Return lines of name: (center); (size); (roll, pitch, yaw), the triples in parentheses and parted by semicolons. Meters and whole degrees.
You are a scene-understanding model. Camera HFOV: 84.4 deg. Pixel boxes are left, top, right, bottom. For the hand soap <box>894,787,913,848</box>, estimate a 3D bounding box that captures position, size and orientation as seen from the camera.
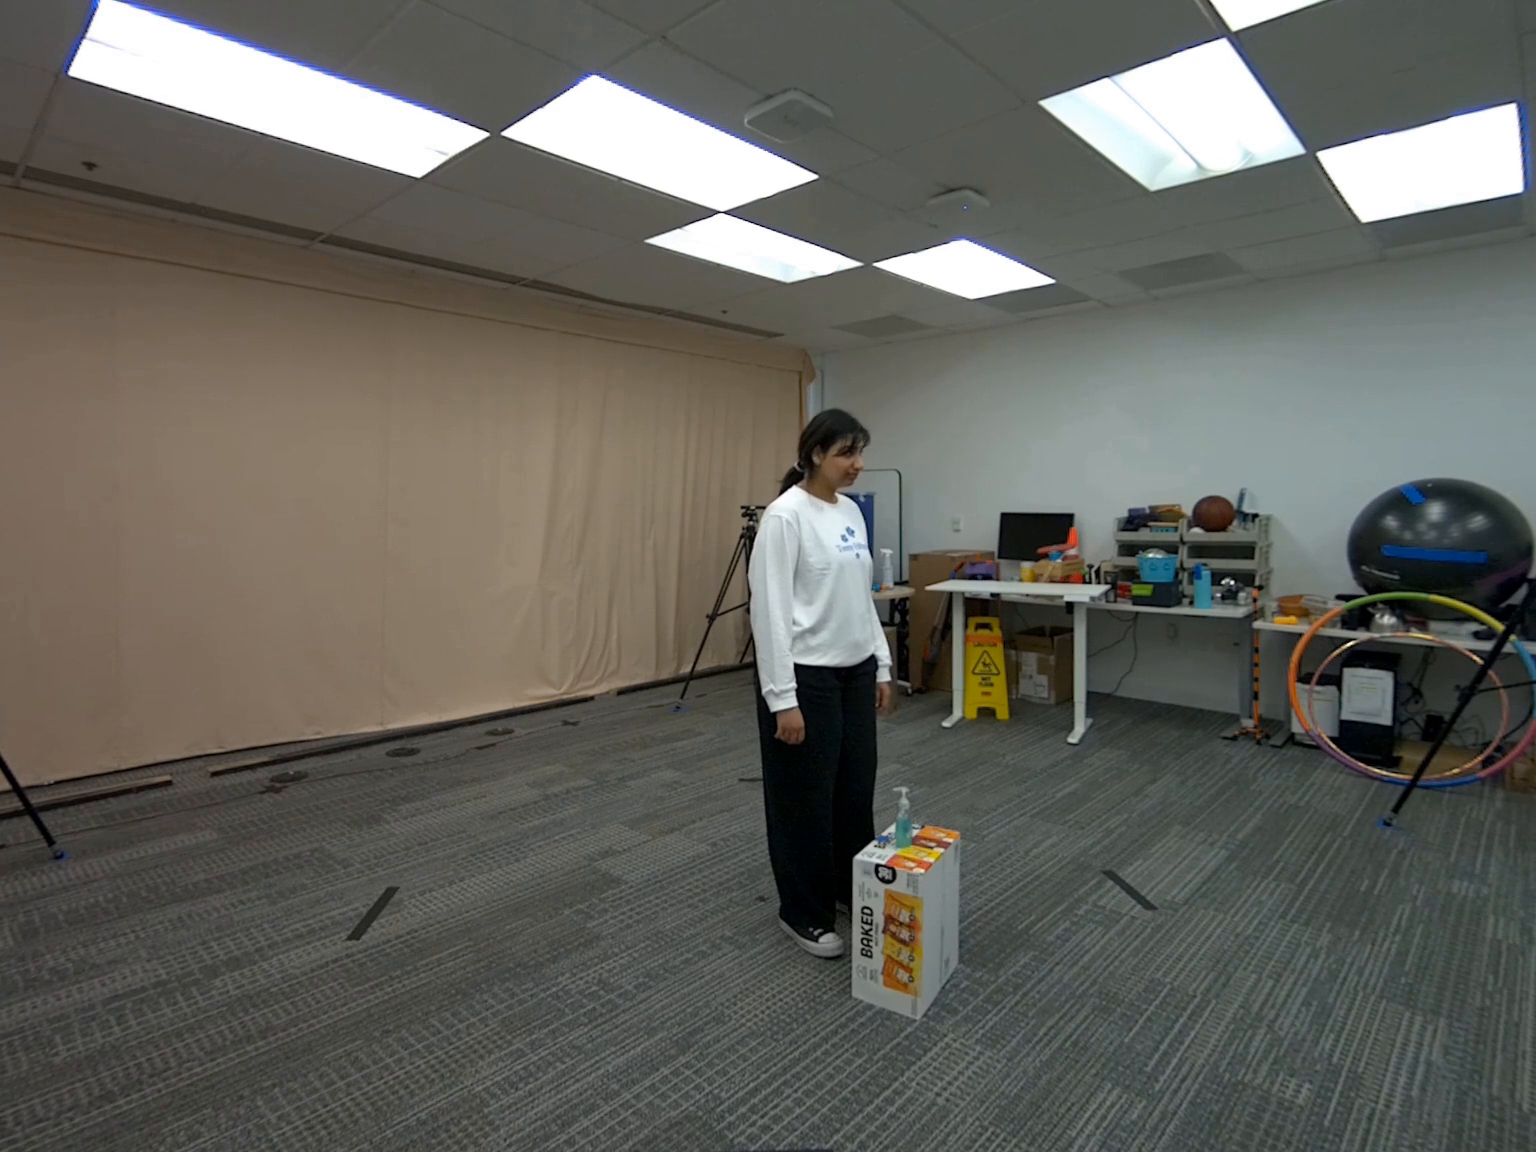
hand soap: (0.399, 0.699, 2.453); (0.045, 0.168, 0.082); (-1, 0, 32)
